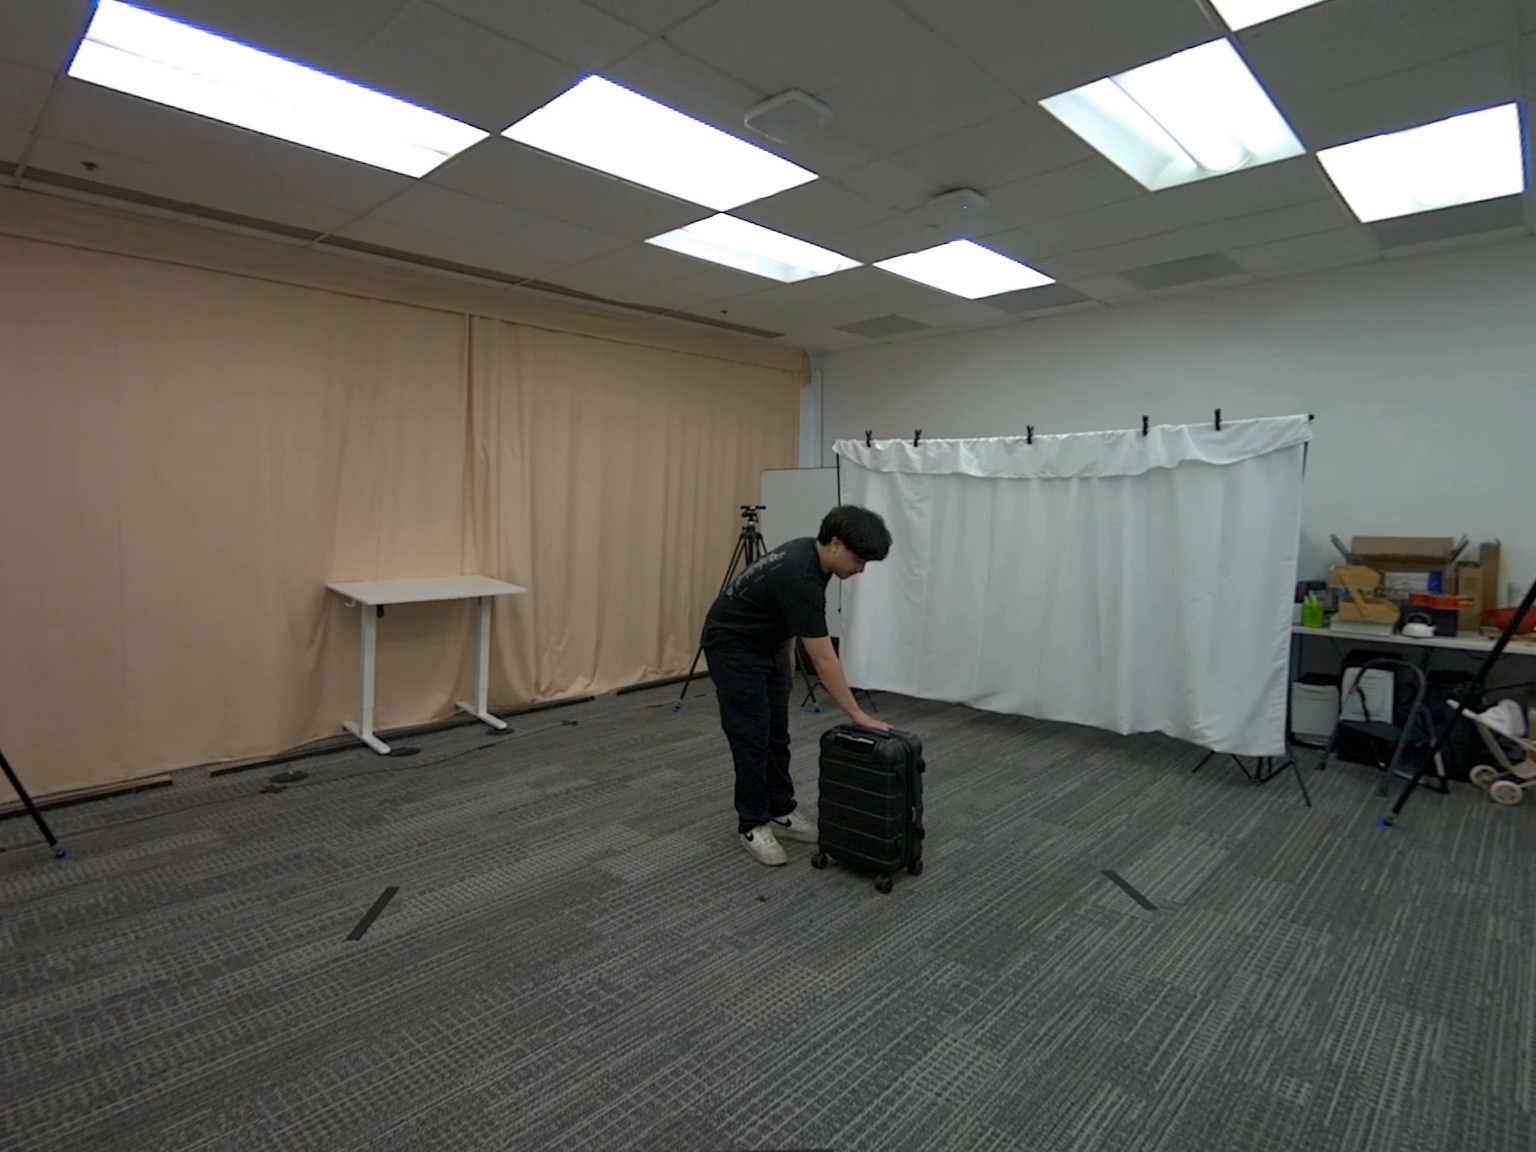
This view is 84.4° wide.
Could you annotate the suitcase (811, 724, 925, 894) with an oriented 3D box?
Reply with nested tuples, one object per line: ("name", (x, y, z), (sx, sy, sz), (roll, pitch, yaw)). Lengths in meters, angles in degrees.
("suitcase", (0.389, 0.847, 3.206), (0.388, 0.549, 0.240), (2, 2, 42))
